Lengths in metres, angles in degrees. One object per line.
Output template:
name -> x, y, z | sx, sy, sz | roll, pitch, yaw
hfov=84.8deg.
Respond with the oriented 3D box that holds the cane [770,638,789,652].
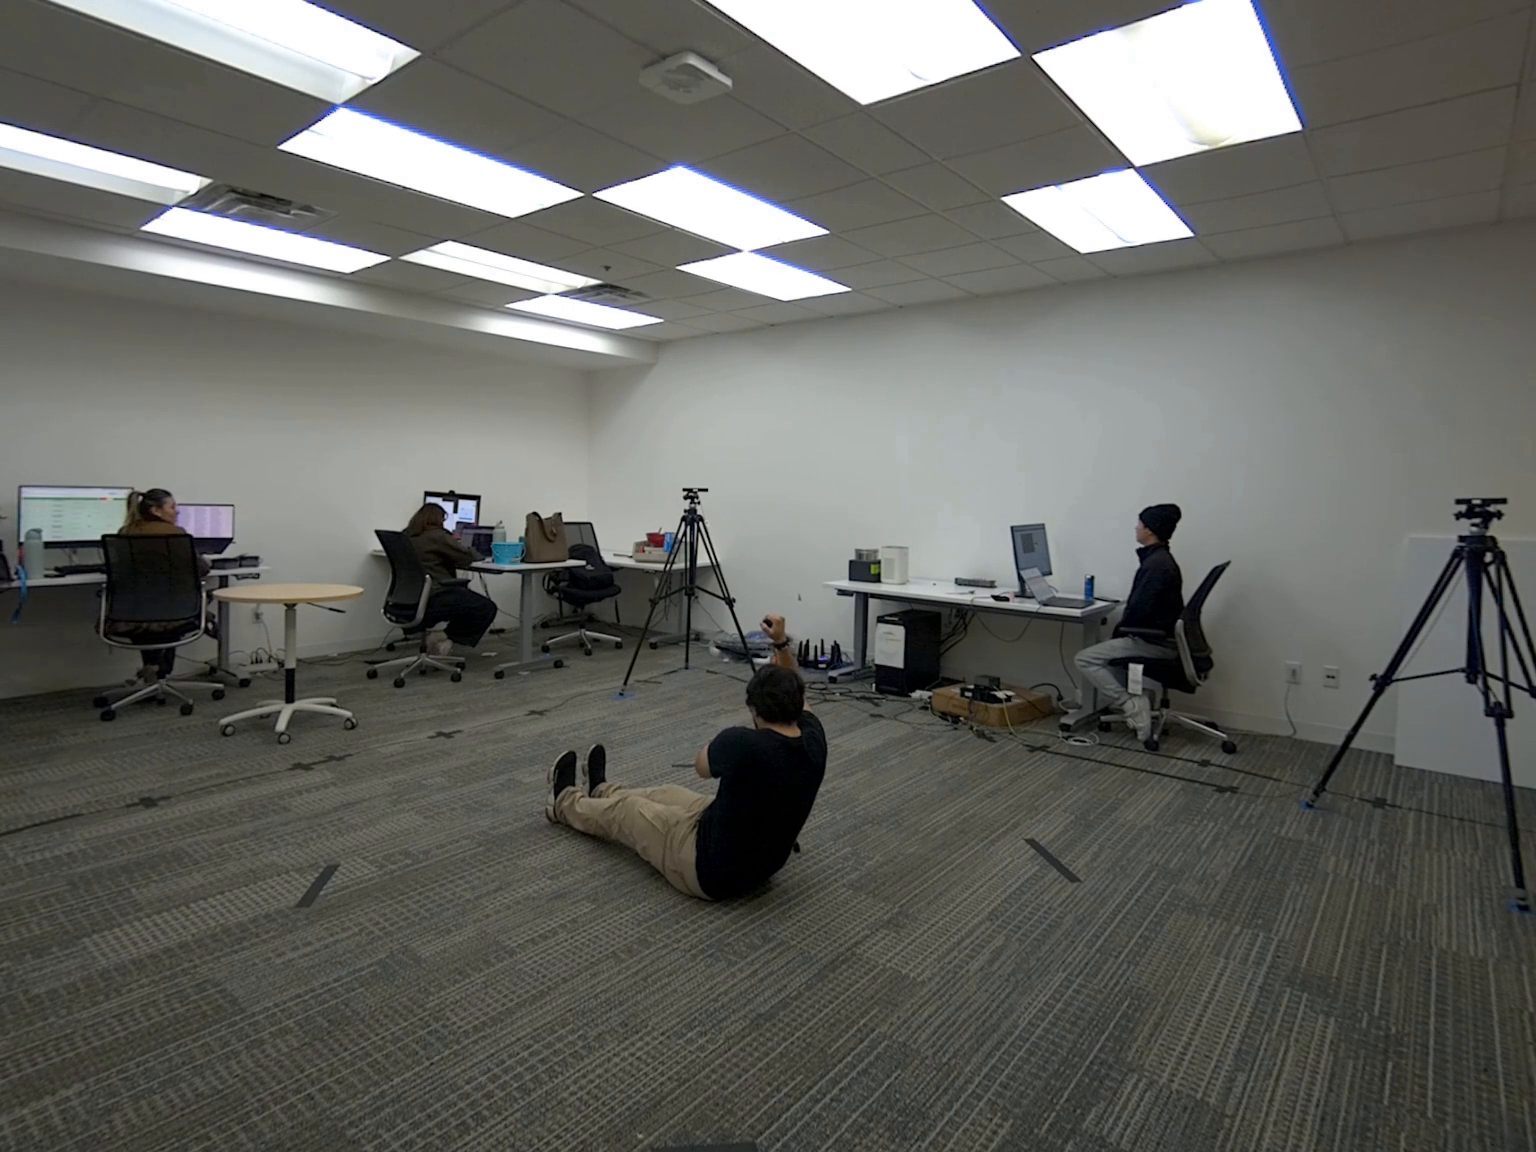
cane -> 0.026, 0.613, 3.222 | 0.156, 0.906, 0.201 | 2, 3, 27
